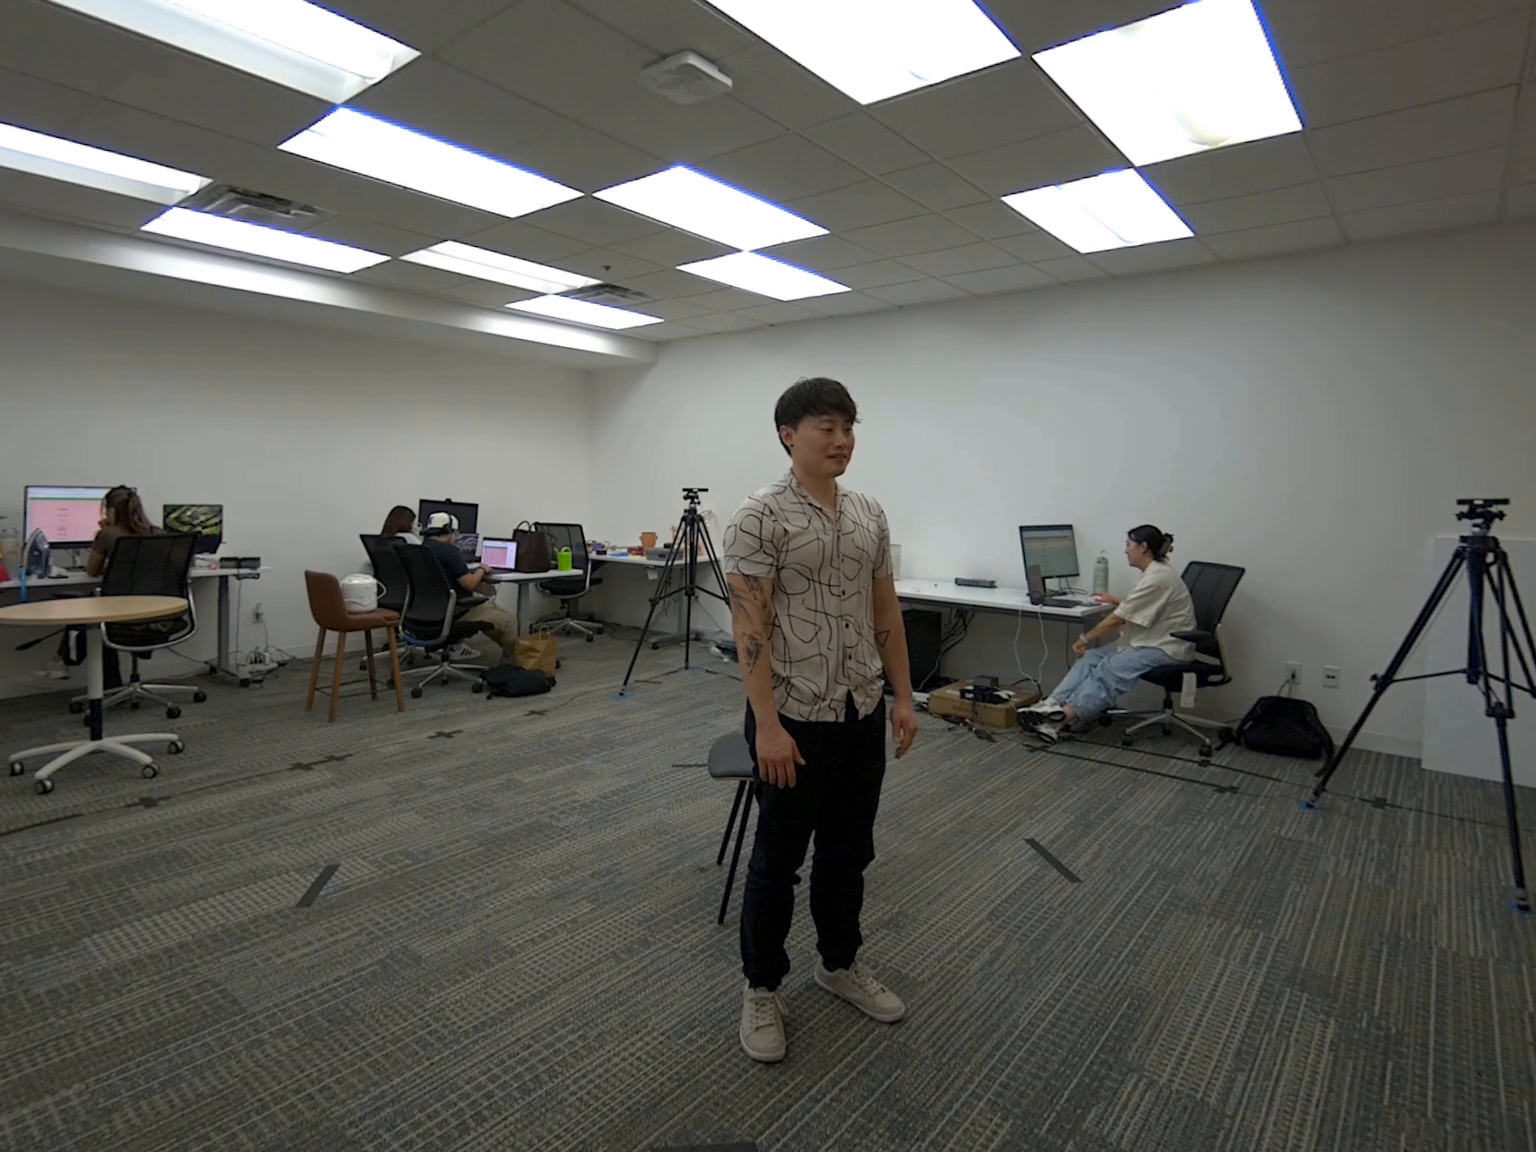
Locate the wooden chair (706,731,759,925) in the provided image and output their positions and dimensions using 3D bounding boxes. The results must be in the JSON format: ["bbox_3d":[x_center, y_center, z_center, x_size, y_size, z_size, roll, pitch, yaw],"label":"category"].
[{"bbox_3d":[0.047,0.667,2.907,0.522,0.875,0.480,5,4,-2],"label":"wooden chair"}]
